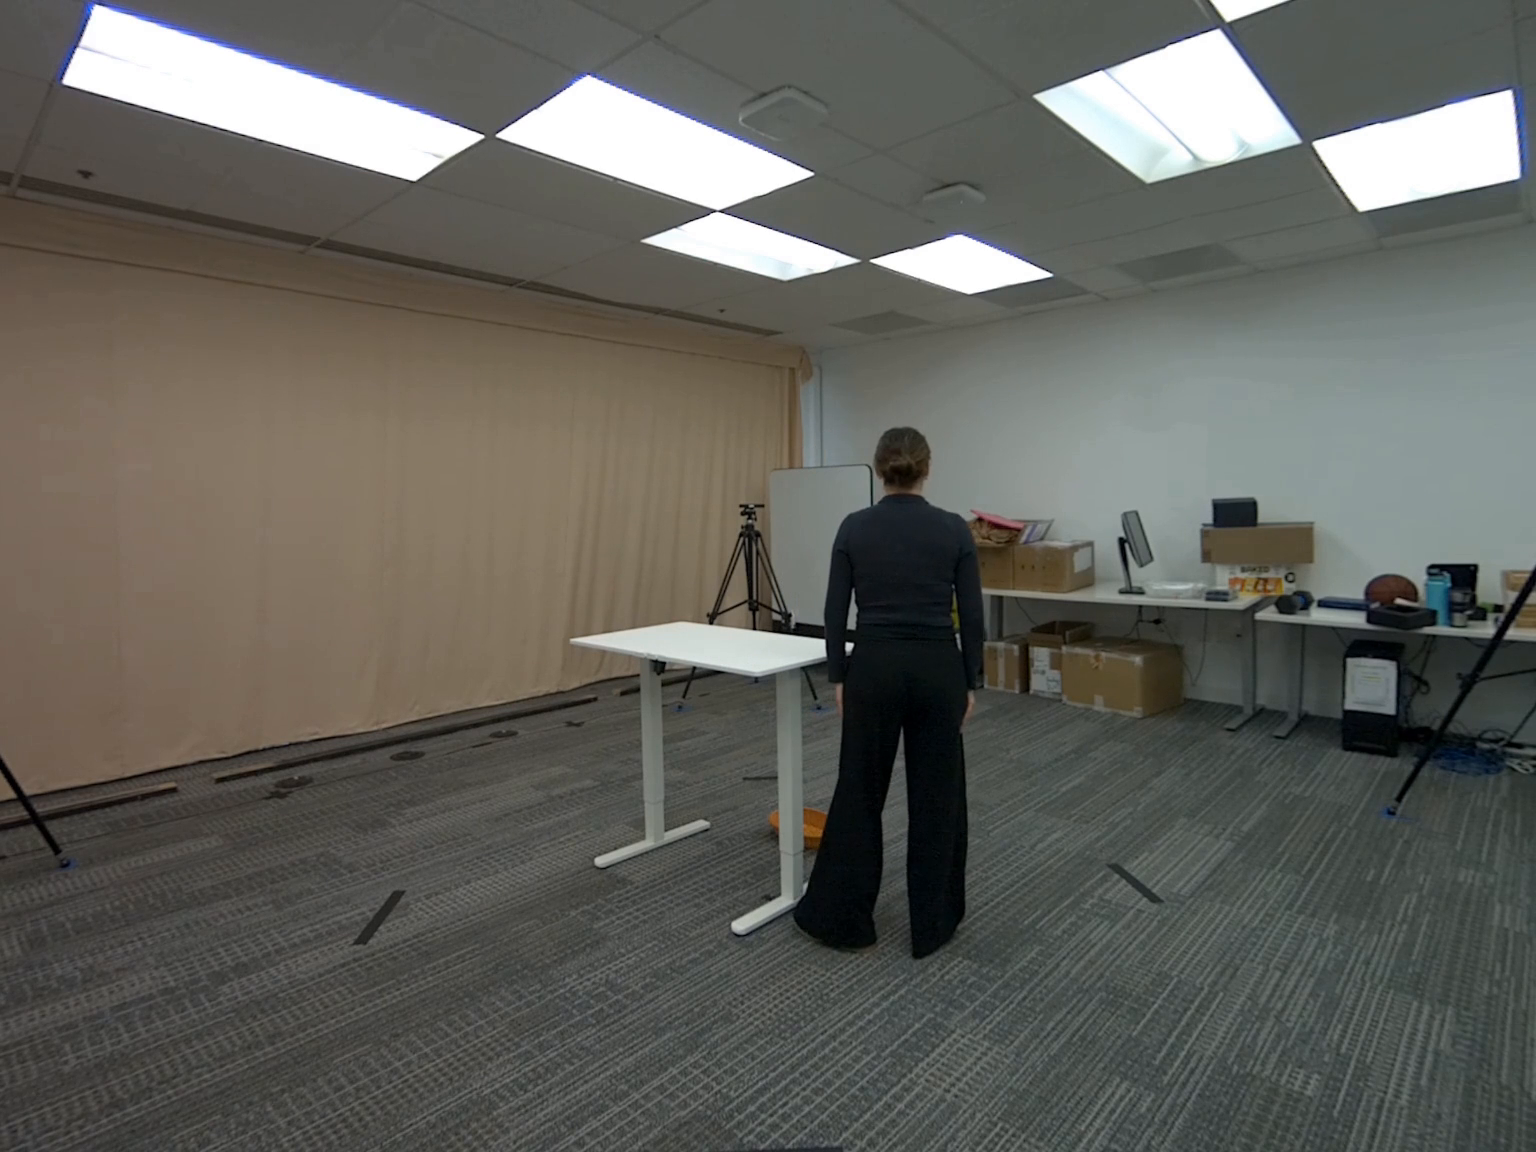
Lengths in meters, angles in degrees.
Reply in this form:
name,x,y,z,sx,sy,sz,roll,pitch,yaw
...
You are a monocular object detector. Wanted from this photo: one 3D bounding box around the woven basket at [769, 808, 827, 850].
name,x,y,z,sx,sy,sz,roll,pitch,yaw
woven basket,0.158,1.046,3.512,0.245,0.073,0.362,-7,7,-40
